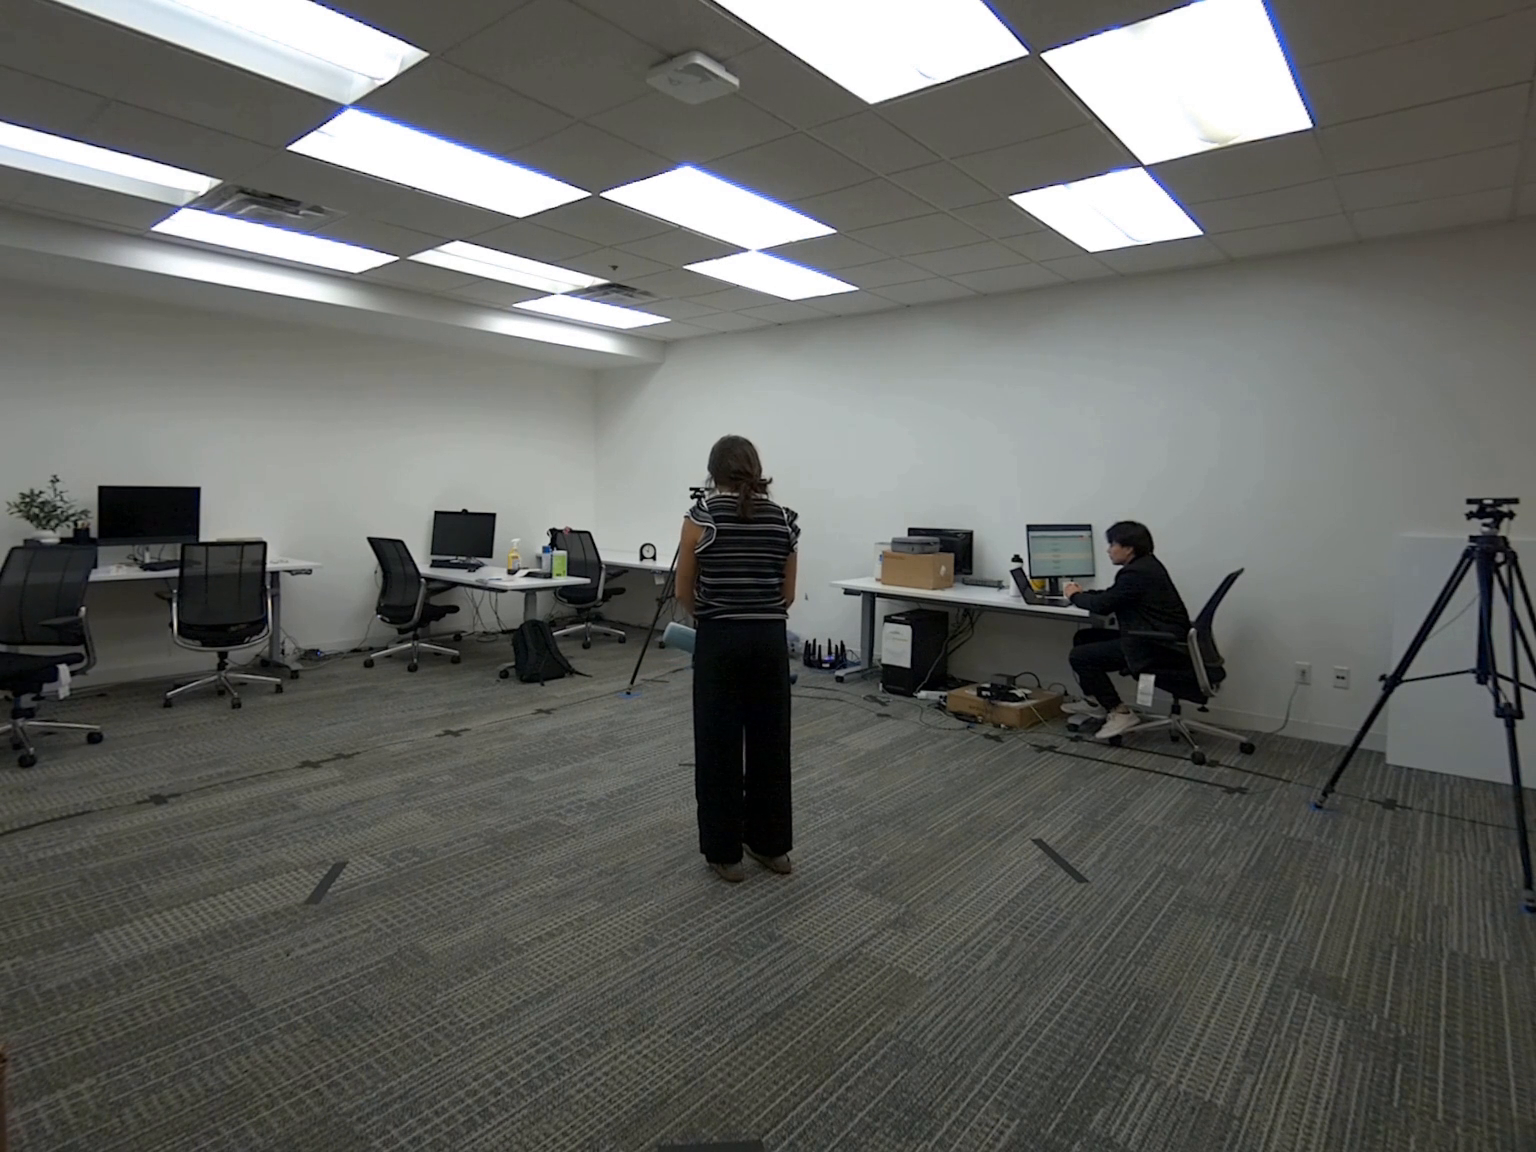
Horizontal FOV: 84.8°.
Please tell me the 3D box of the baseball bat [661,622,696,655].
[{"bbox_3d":[-0.140,0.309,3.268,0.538,0.089,0.090,19,2,-6],"label":"baseball bat"}]
